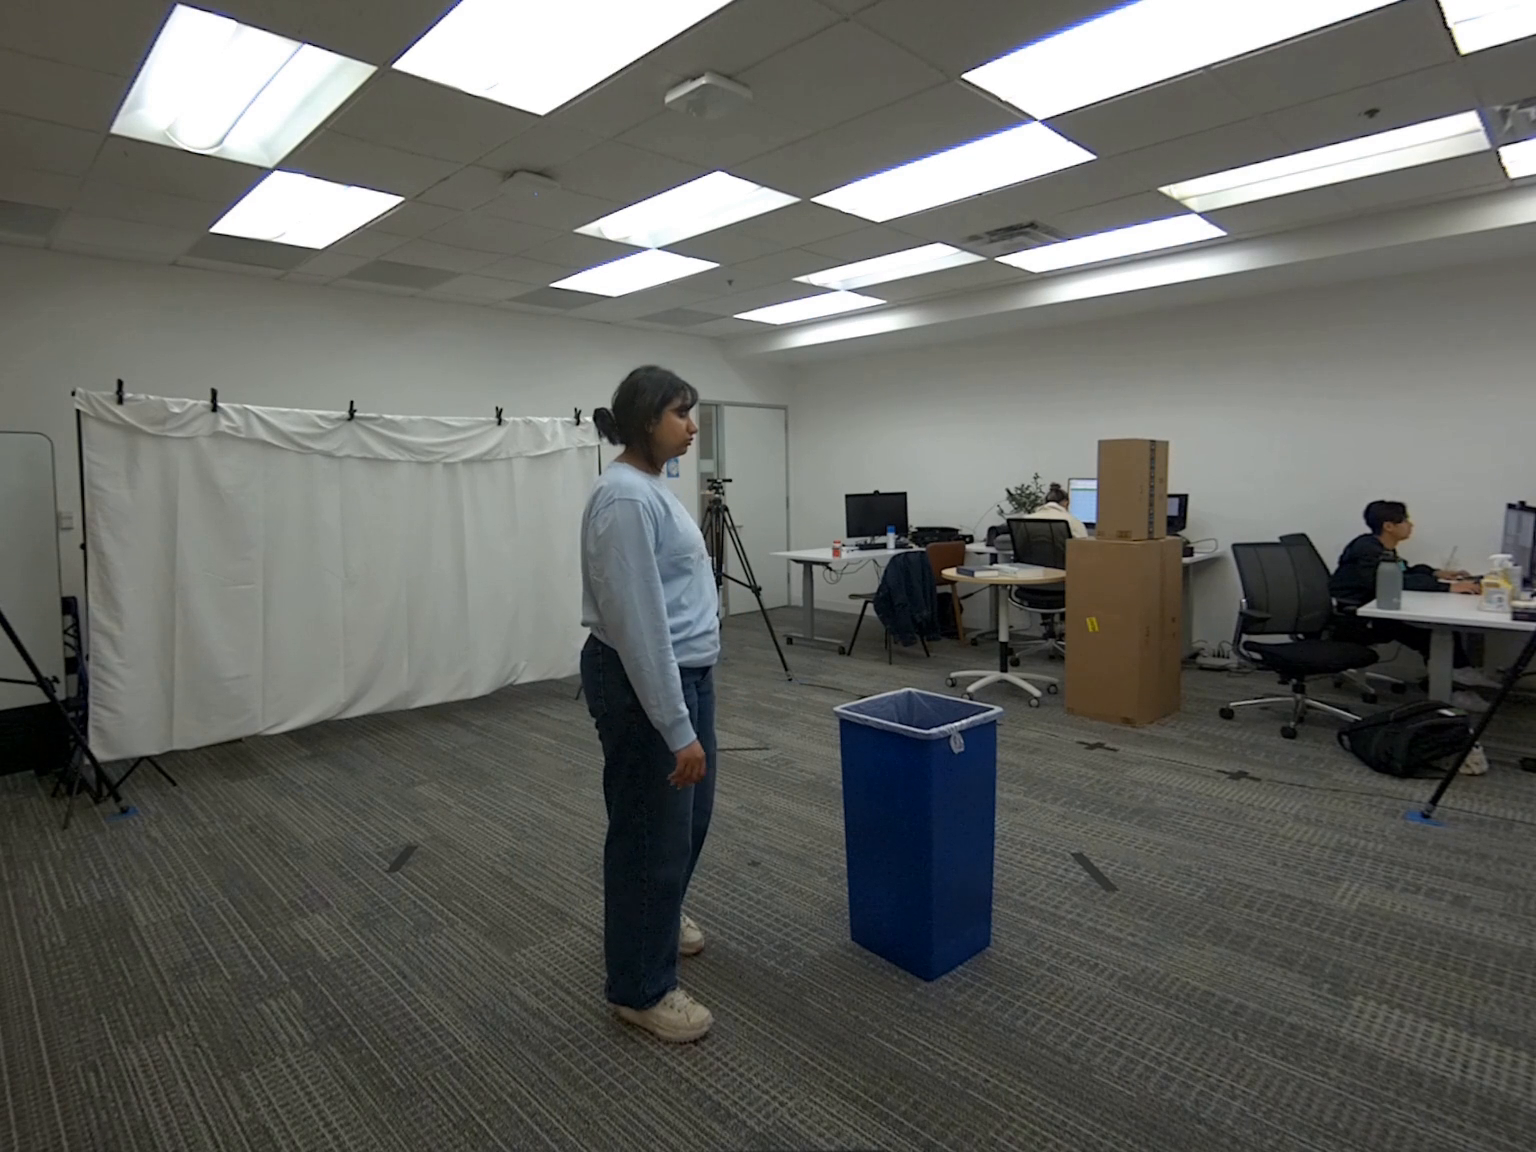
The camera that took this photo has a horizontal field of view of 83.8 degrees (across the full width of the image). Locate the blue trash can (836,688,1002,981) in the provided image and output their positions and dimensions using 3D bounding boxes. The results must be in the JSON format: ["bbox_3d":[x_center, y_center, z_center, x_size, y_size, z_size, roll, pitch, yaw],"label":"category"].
[{"bbox_3d":[0.456,0.744,2.552,0.364,0.711,0.389,-5,5,-41],"label":"blue trash can"}]
